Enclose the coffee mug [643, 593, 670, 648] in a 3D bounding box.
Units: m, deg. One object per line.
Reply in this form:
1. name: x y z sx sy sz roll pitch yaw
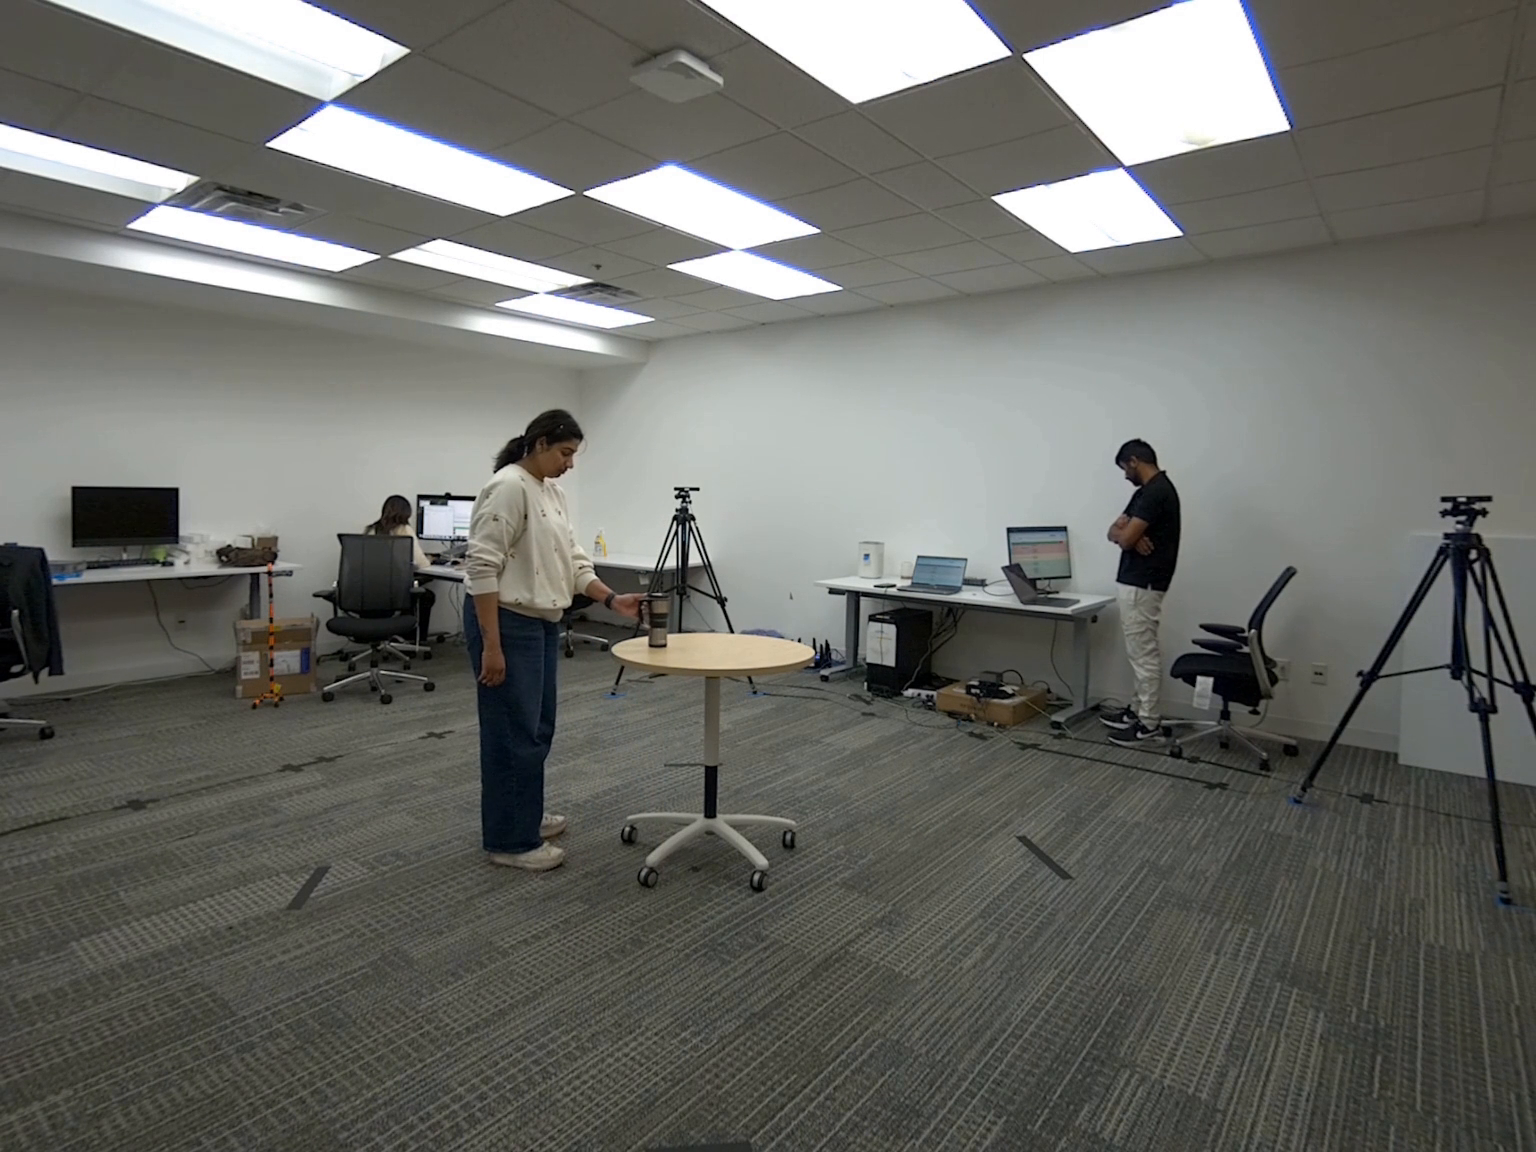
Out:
1. coffee mug: -0.446 0.171 3.255 0.126 0.201 0.085 6 11 41
